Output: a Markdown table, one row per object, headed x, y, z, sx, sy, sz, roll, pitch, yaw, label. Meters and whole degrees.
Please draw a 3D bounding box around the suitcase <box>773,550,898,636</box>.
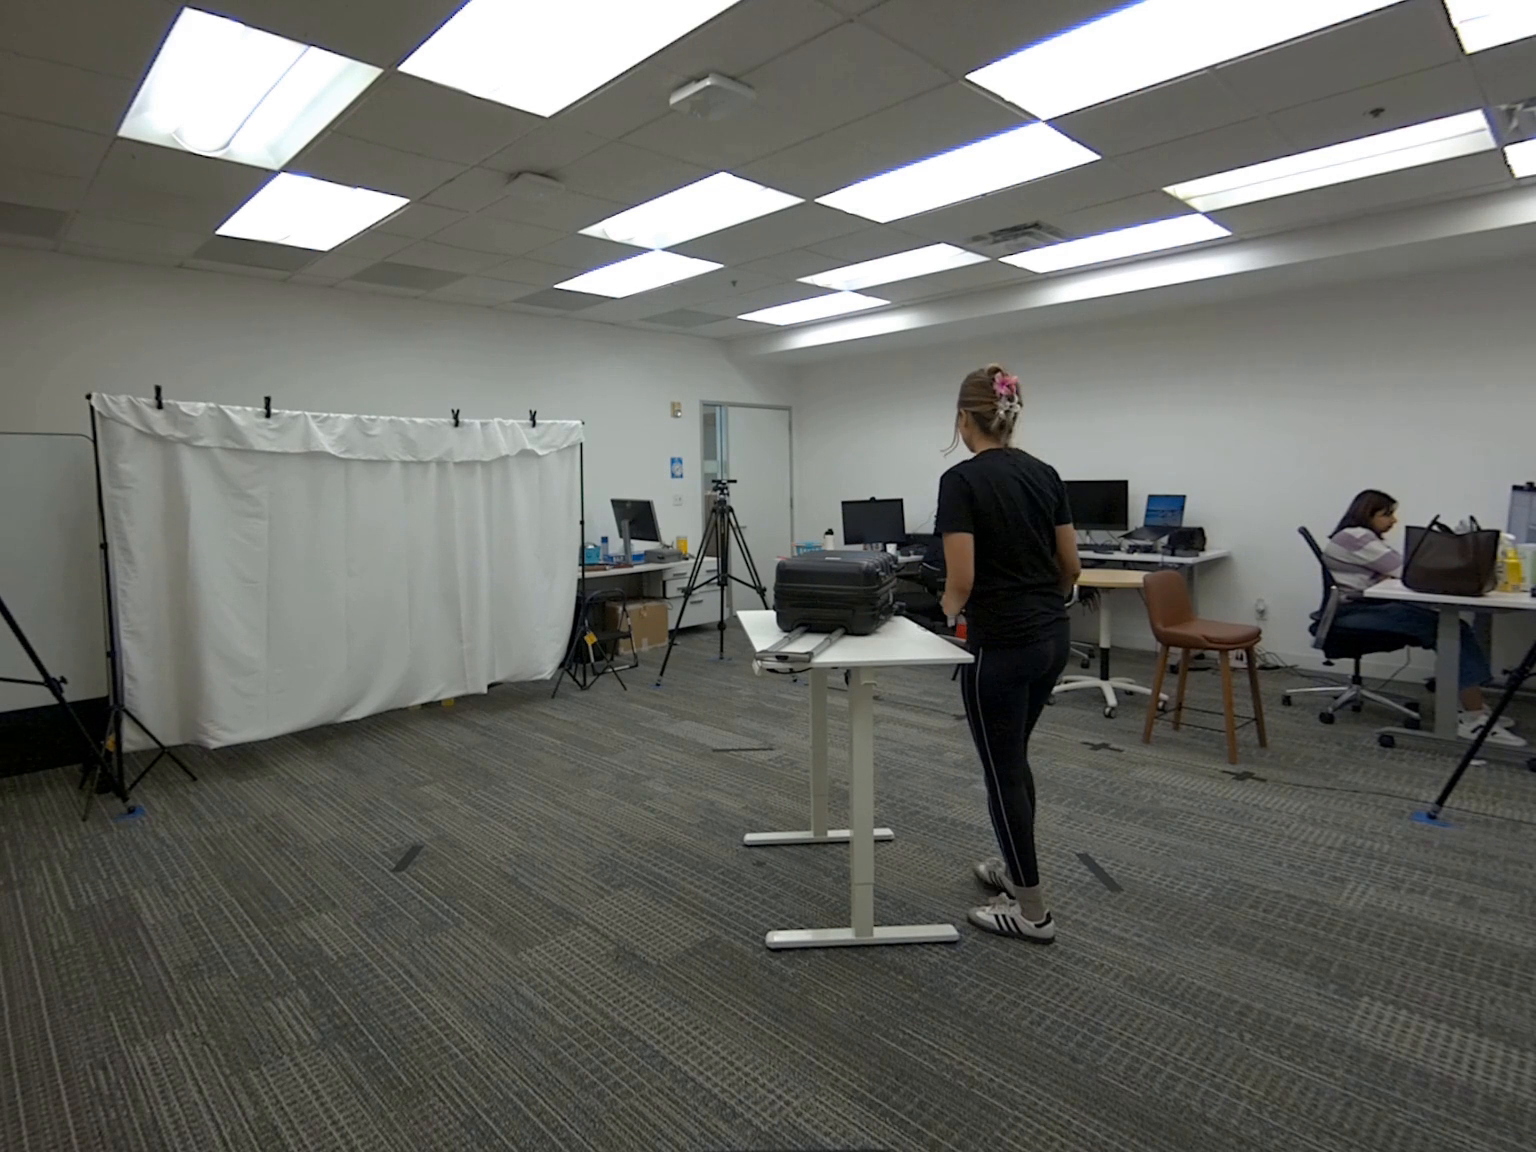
| x | y | z | sx | sy | sz | roll | pitch | yaw | label |
| --- | --- | --- | --- | --- | --- | --- | --- | --- | --- |
| 0.185 | 0.068 | 2.838 | 0.391 | 0.256 | 0.964 | 3 | 6 | 18 | suitcase |
